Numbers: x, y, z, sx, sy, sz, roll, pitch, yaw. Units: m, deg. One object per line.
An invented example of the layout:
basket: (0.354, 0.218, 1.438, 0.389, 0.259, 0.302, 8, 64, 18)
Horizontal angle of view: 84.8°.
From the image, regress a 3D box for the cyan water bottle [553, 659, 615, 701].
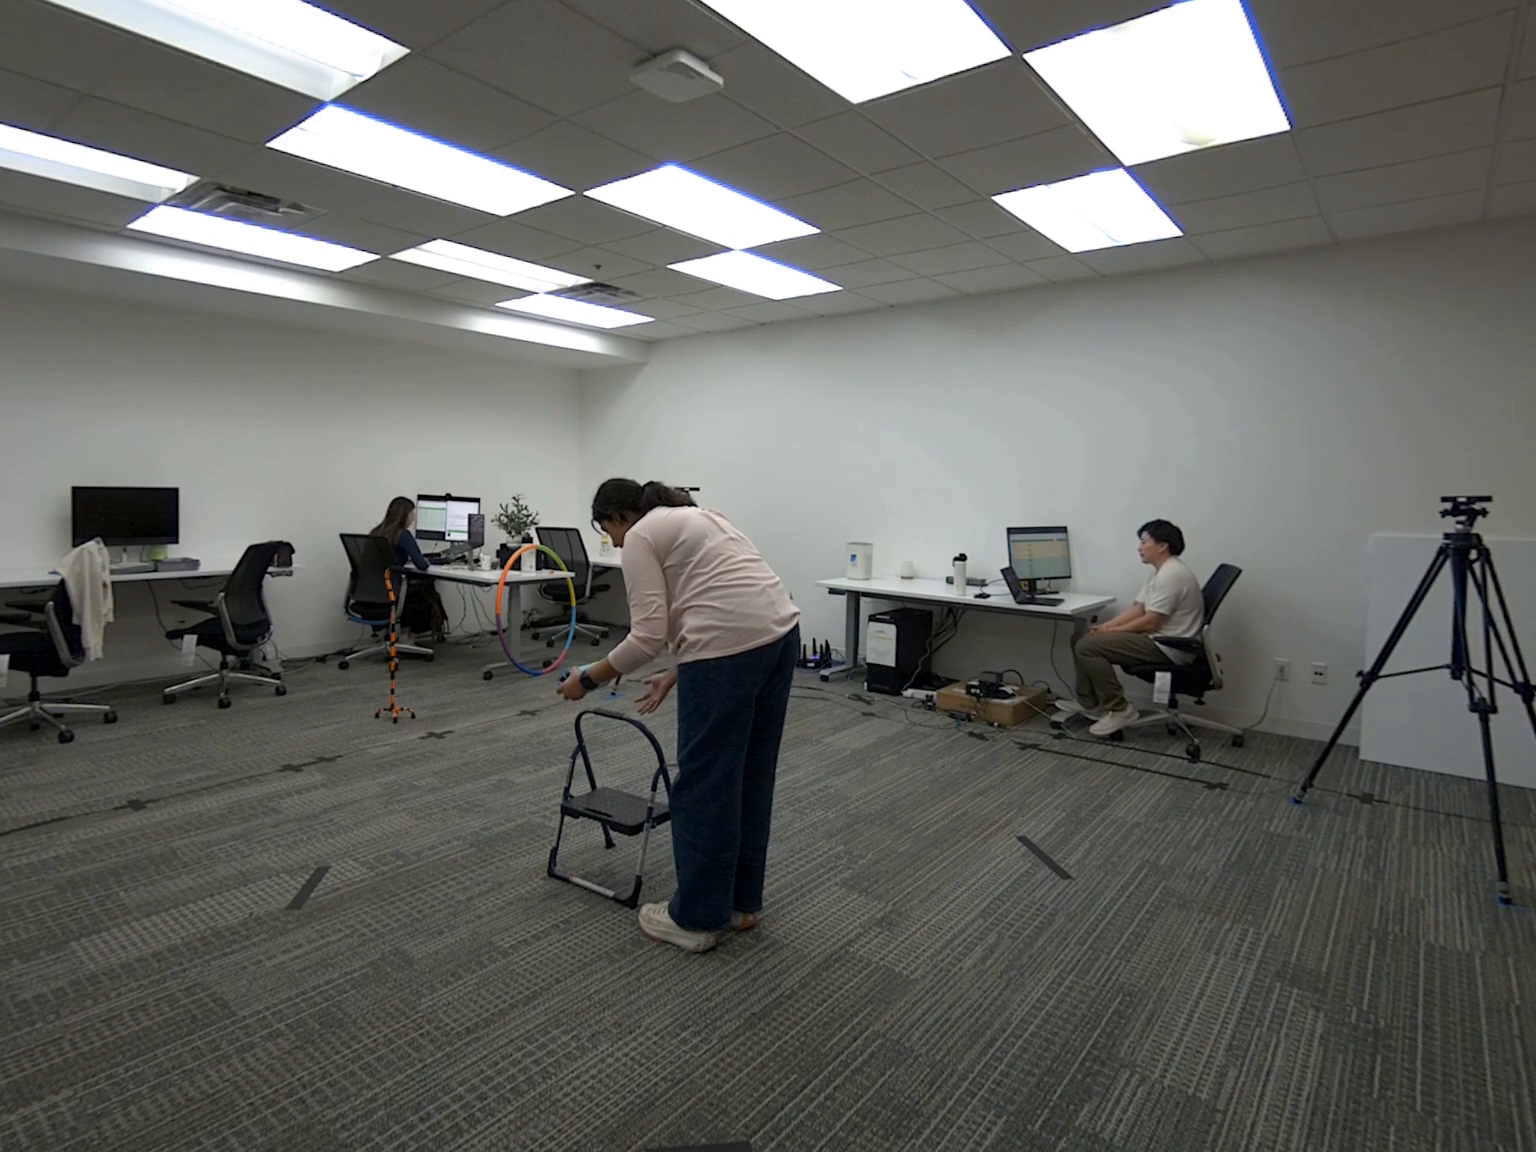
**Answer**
cyan water bottle: (-0.609, 0.341, 2.805, 0.094, 0.092, 0.279, 2, 1, 12)
